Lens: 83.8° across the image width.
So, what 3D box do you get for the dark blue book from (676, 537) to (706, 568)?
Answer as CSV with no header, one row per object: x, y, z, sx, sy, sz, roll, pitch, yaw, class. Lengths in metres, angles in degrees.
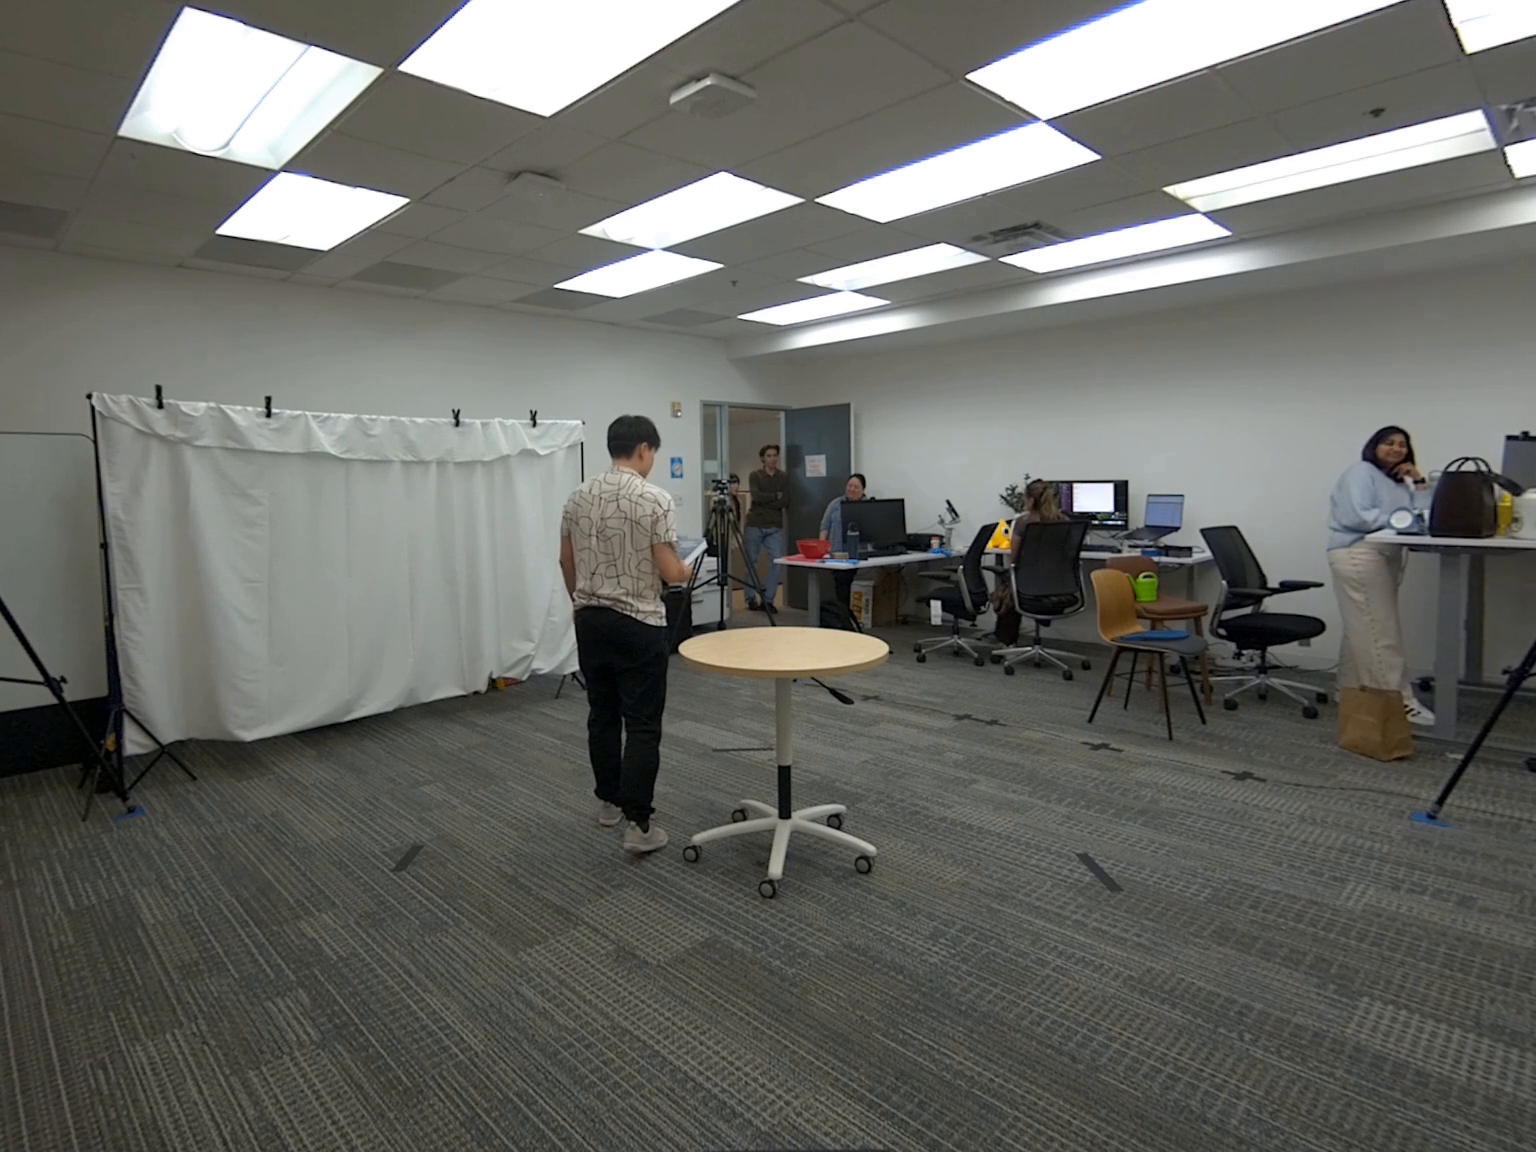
-0.390,-0.088,3.687,0.167,0.044,0.245,-1,28,27,dark blue book
